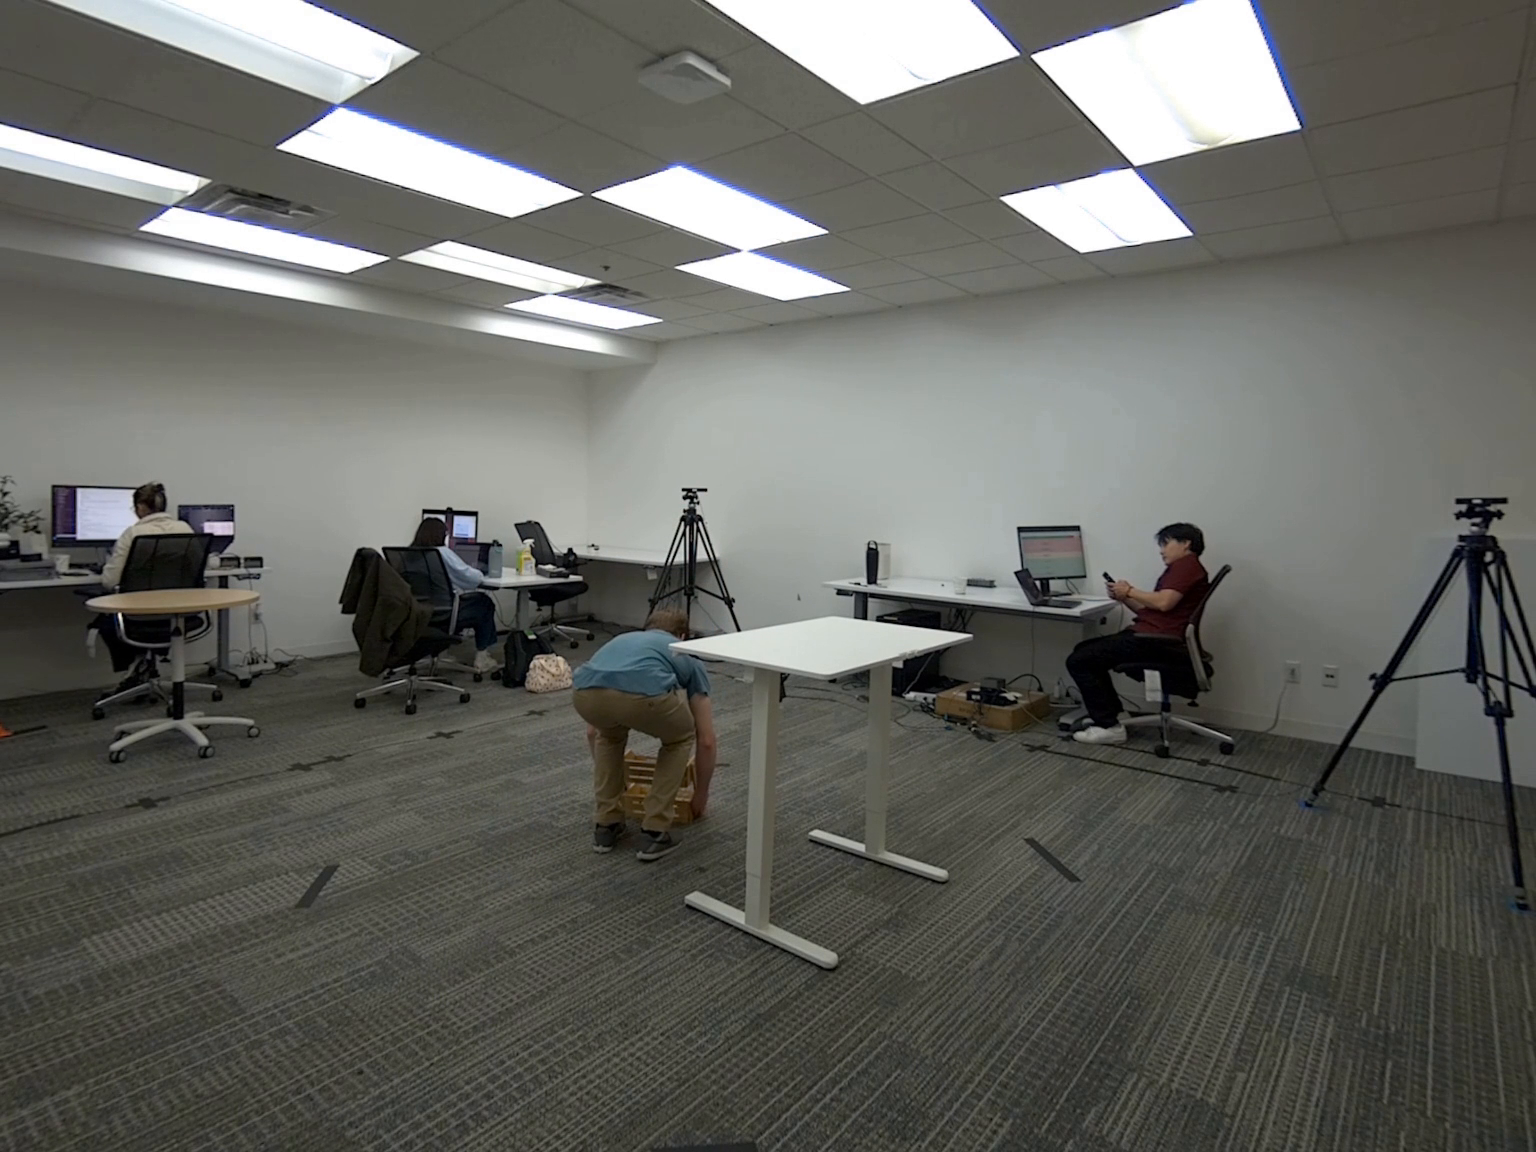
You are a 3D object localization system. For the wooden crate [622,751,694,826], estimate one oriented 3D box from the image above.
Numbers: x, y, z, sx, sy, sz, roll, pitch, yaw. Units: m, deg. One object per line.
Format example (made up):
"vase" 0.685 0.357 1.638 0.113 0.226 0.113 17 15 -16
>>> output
"wooden crate" -0.467 0.880 3.658 0.329 0.272 0.299 1 5 12
